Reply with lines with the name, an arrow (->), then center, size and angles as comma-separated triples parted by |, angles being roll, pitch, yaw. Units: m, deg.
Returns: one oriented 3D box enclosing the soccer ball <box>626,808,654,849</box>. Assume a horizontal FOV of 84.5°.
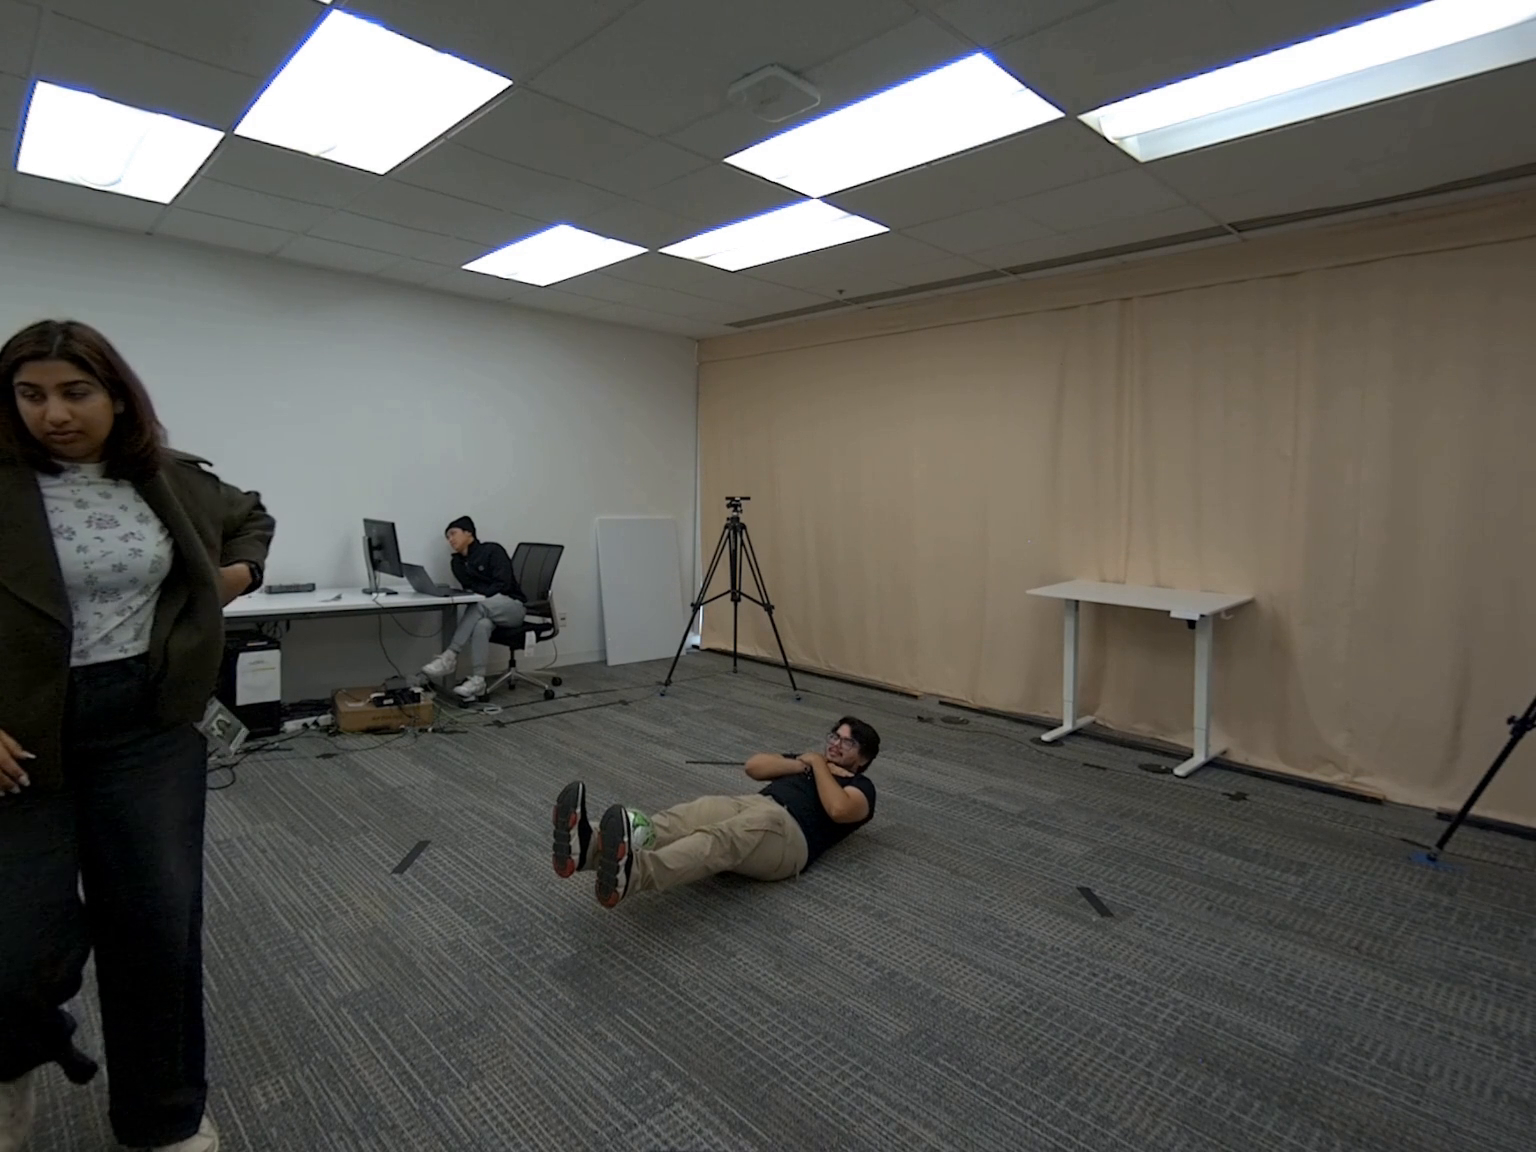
soccer ball -> -0.460, 0.858, 2.707 | 0.187, 0.187, 0.188 | 1, 5, -1
